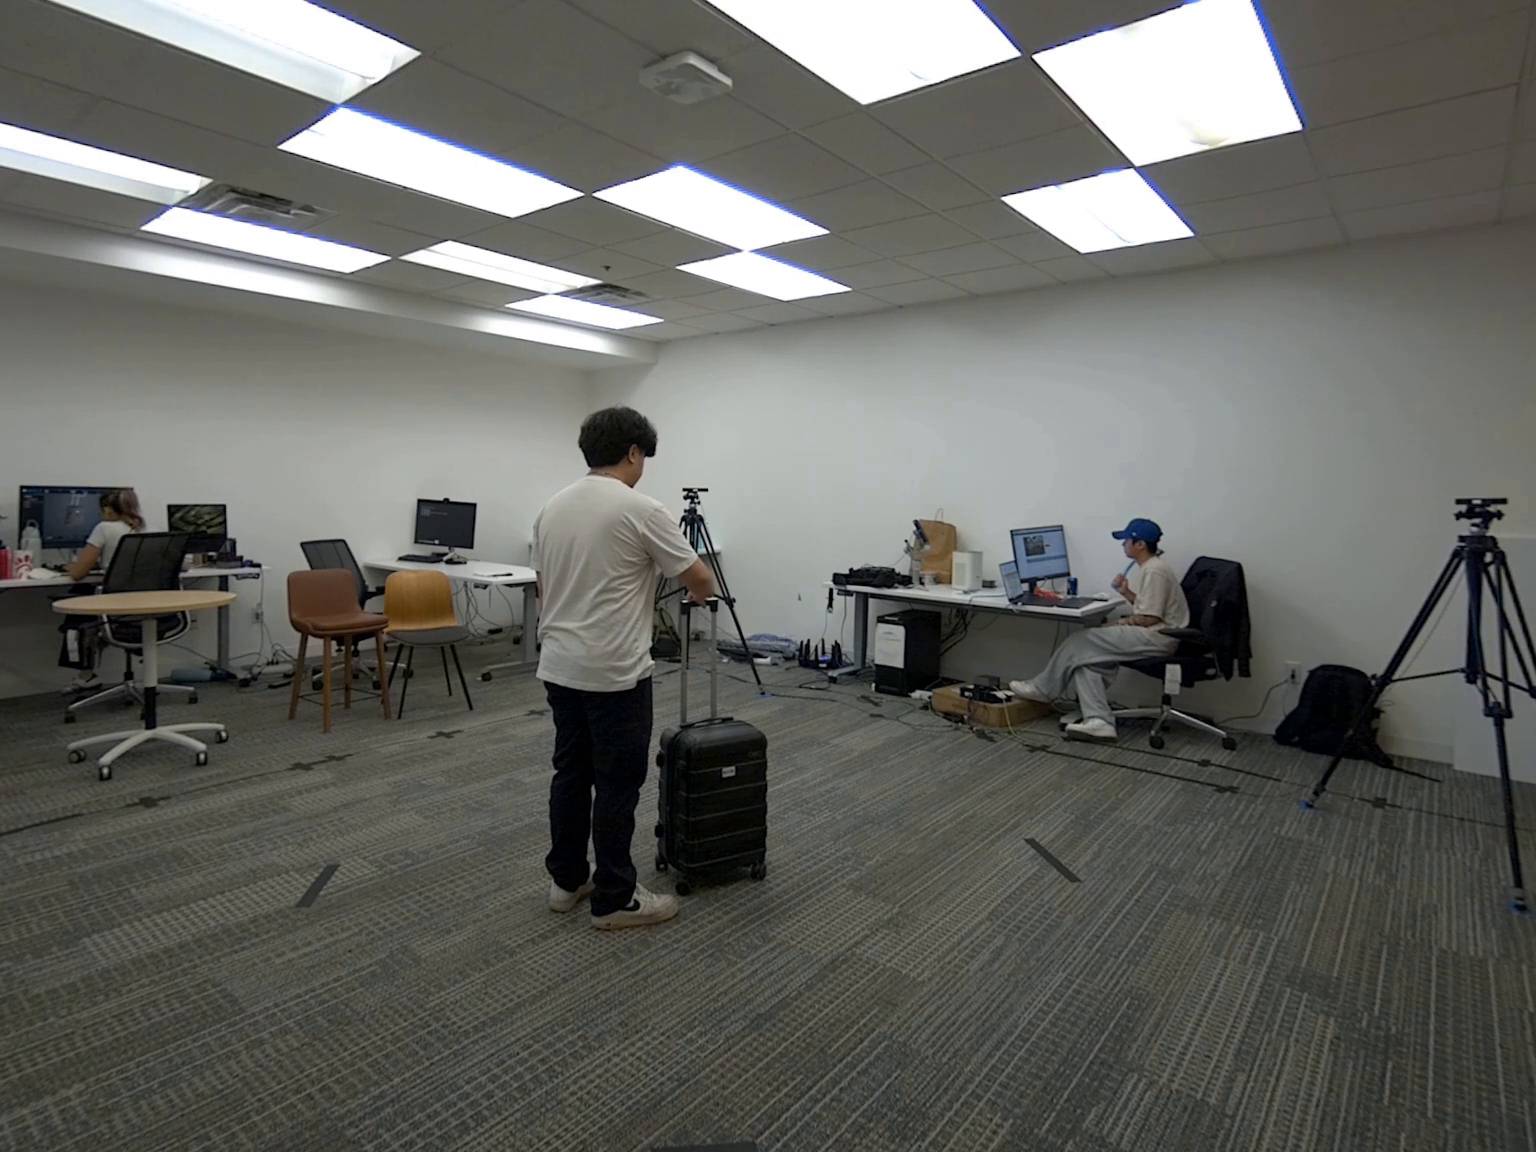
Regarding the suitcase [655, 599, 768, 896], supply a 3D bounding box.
[{"bbox_3d":[-0.206,0.601,3.054,0.375,0.974,0.264,-2,5,-27],"label":"suitcase"}]
